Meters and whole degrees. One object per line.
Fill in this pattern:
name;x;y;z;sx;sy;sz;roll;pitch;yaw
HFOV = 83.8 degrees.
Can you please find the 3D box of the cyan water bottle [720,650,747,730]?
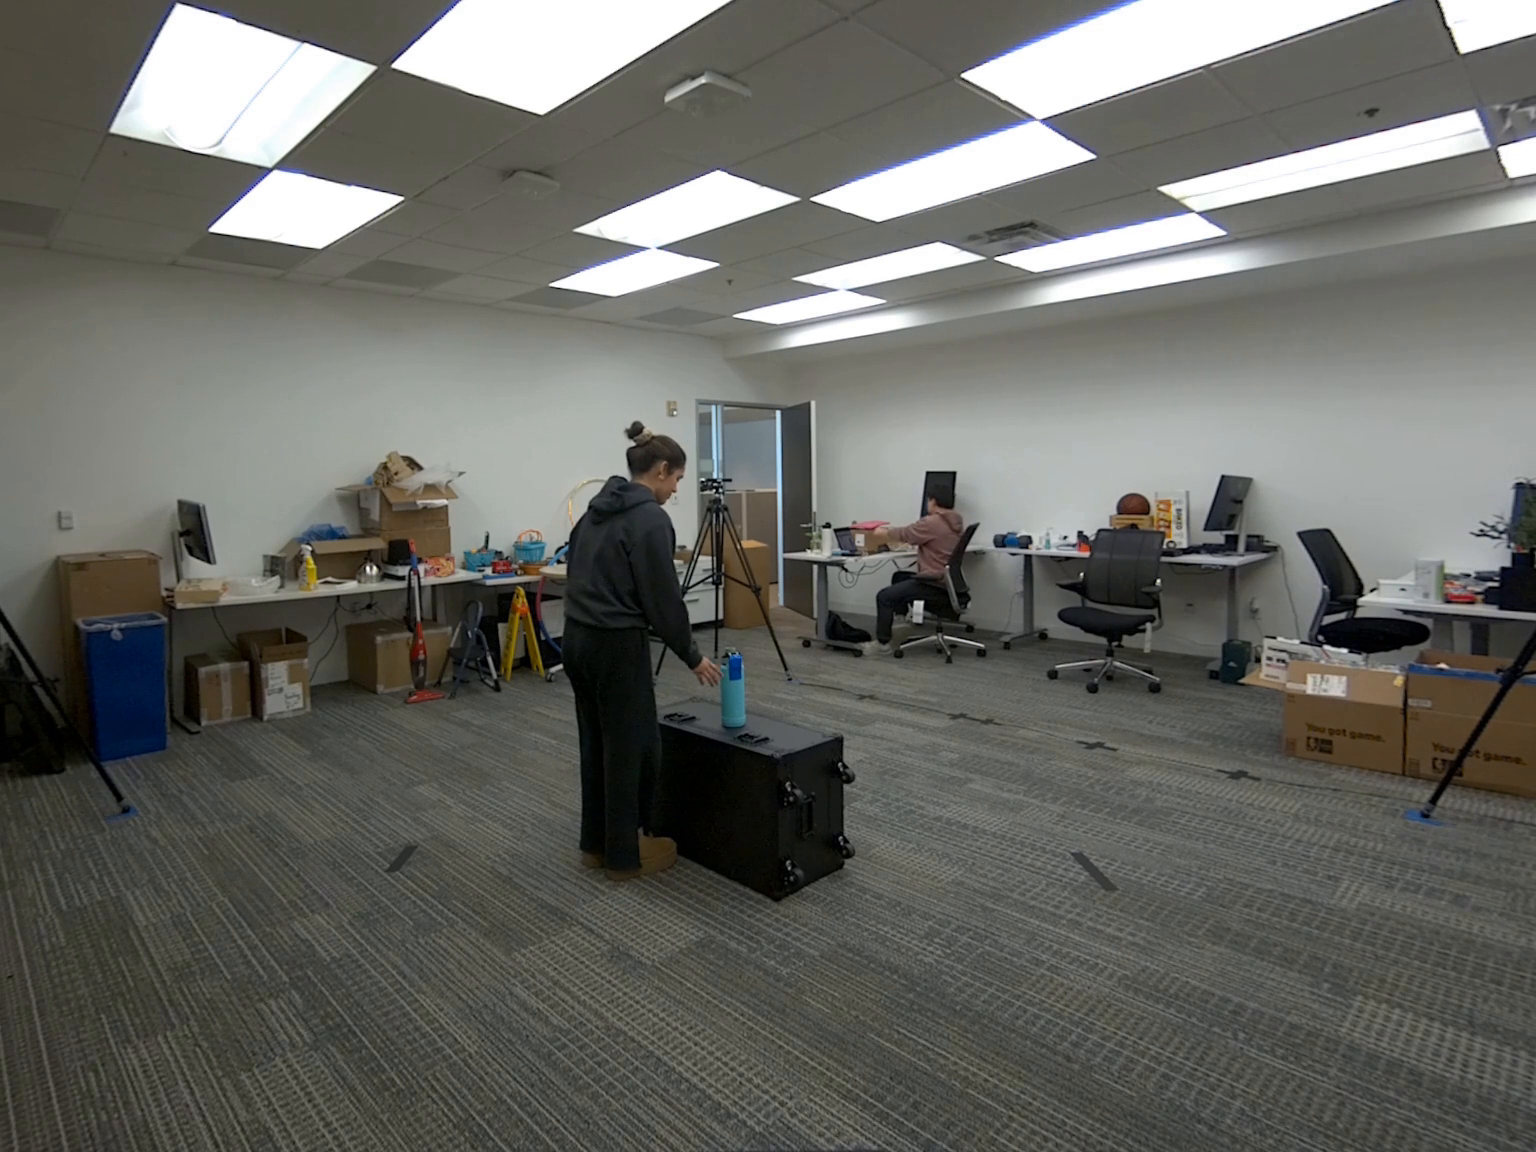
cyan water bottle;-0.129;0.411;3.174;0.092;0.282;0.093;-1;4;-2
